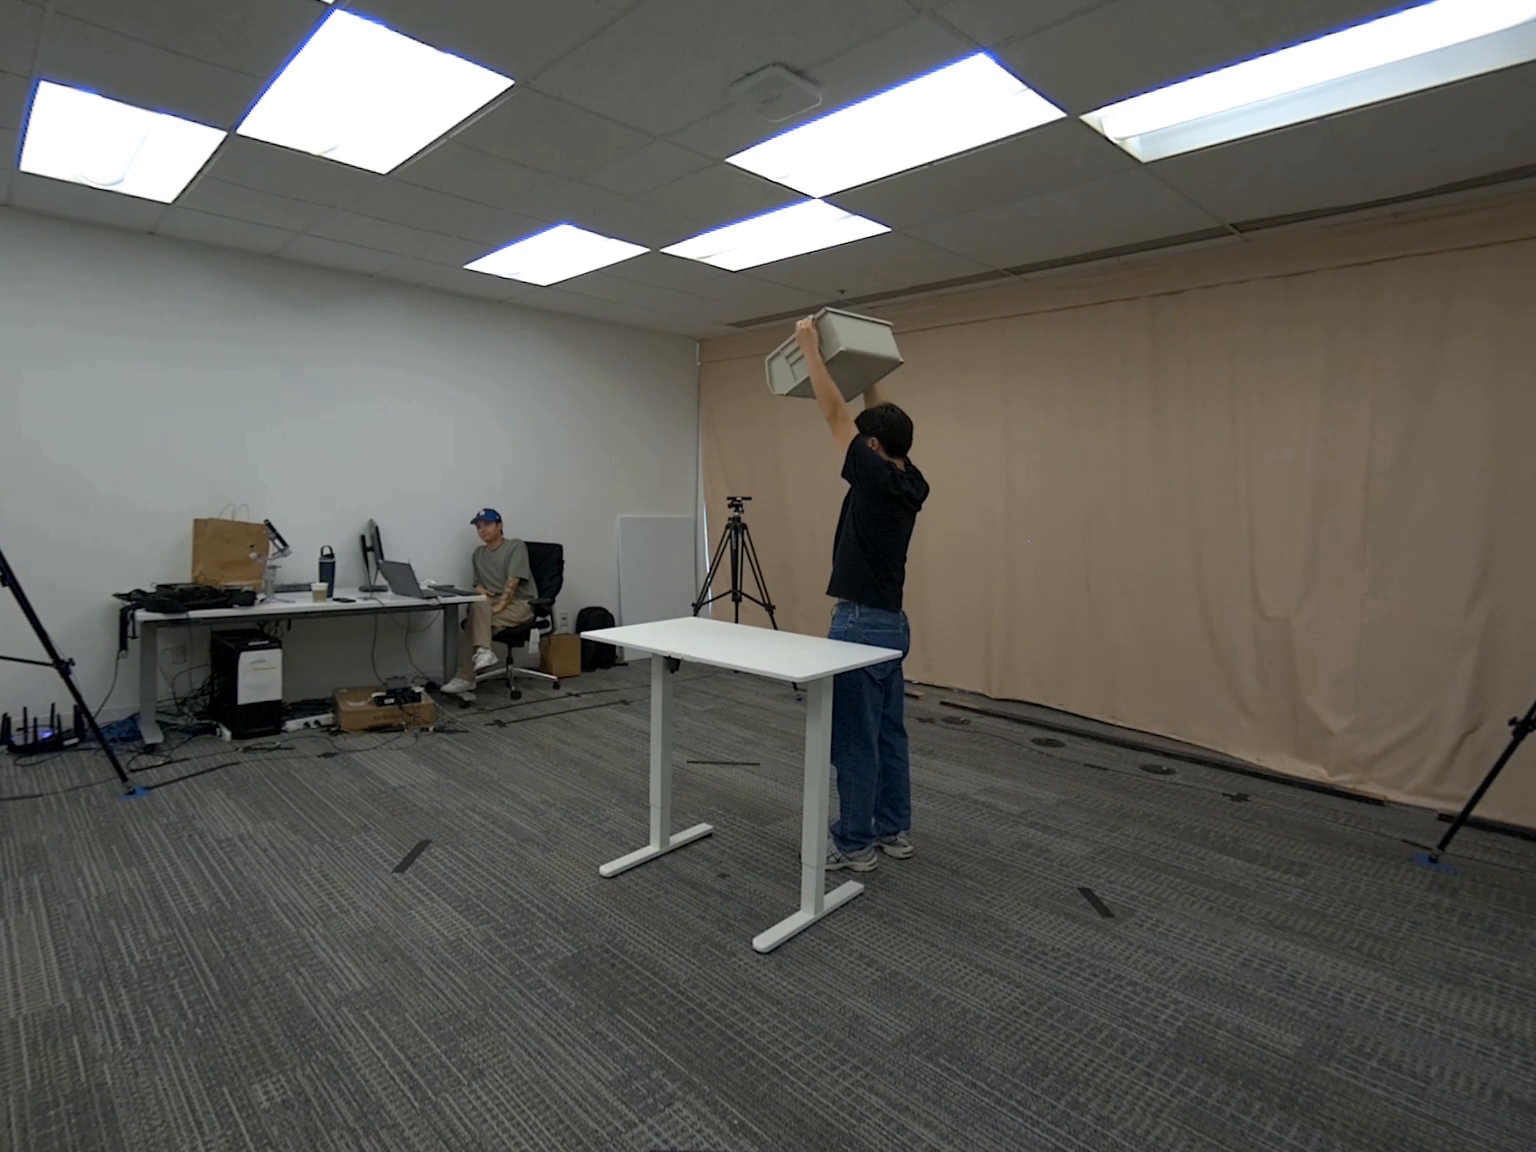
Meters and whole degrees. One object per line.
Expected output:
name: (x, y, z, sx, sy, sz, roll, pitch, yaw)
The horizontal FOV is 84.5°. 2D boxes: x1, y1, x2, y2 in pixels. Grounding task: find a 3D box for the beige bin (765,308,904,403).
beige bin: (0.253, -0.835, 3.341, 0.413, 0.191, 0.380, -5, -19, -45)
